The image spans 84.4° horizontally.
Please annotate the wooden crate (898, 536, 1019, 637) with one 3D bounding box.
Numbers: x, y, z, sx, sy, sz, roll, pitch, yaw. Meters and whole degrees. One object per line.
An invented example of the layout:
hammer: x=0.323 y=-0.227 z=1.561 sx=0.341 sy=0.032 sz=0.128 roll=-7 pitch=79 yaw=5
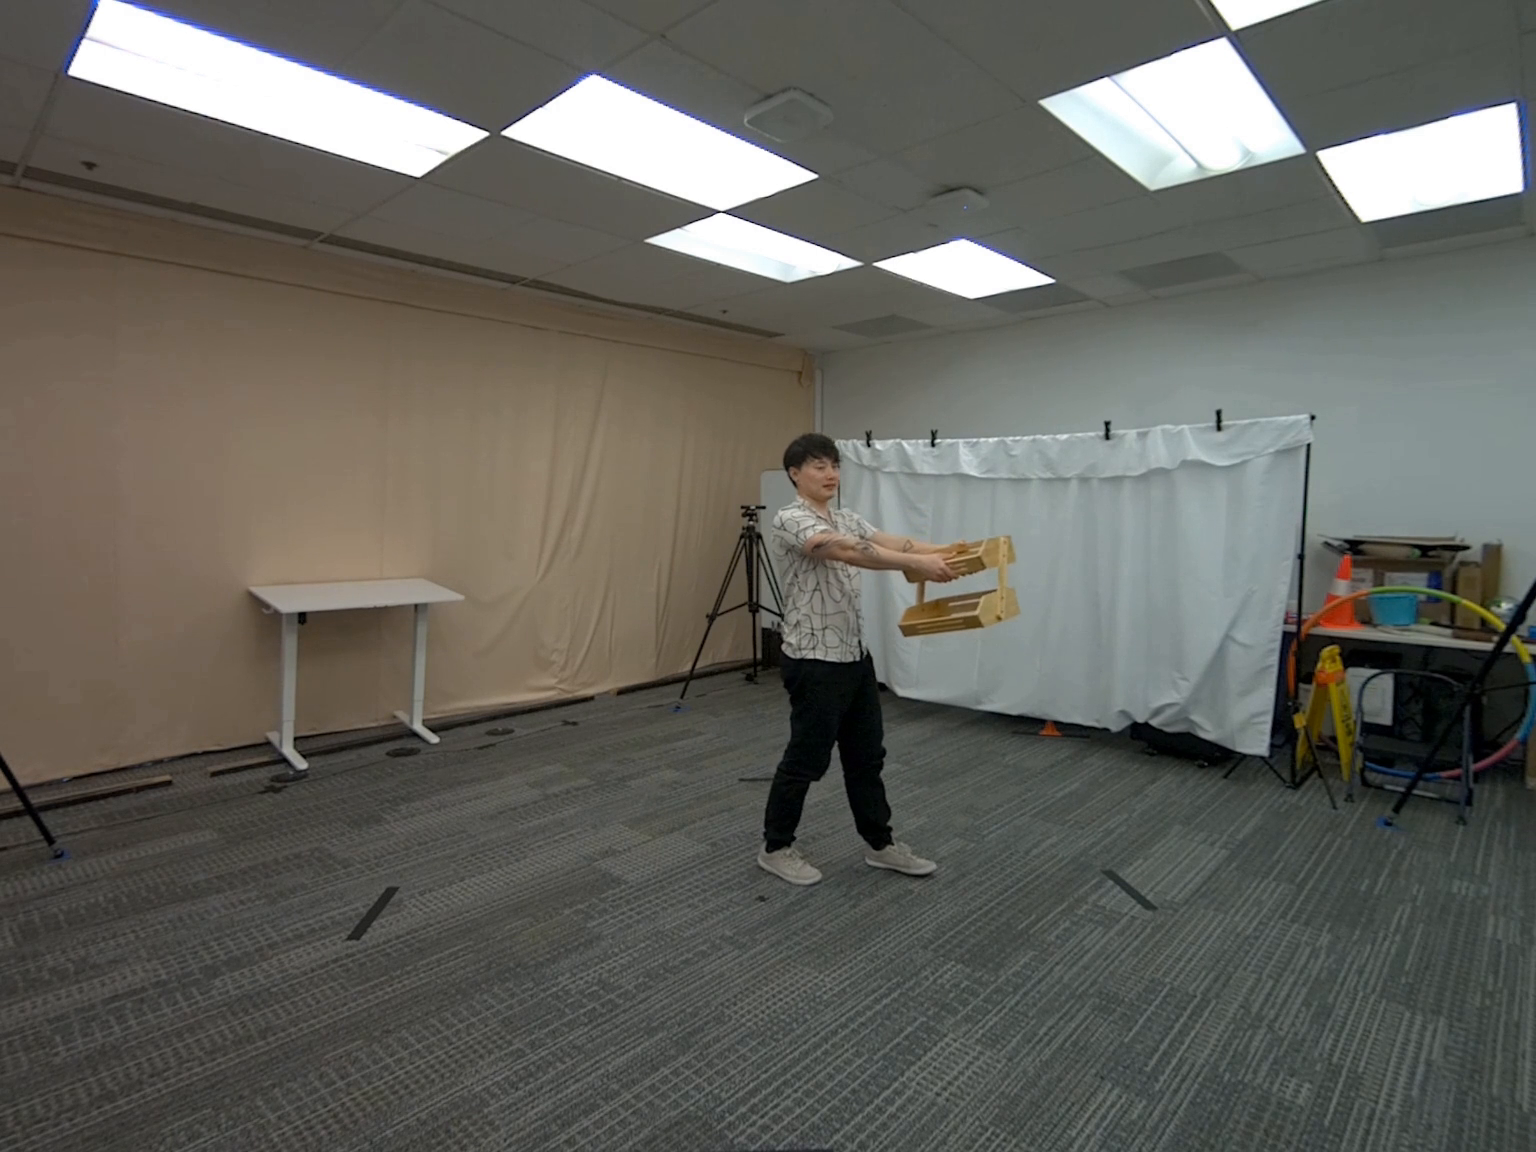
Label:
wooden crate: x=0.616 y=0.030 z=2.780 sx=0.333 sy=0.274 sz=0.293 roll=-13 pitch=-2 yaw=45
